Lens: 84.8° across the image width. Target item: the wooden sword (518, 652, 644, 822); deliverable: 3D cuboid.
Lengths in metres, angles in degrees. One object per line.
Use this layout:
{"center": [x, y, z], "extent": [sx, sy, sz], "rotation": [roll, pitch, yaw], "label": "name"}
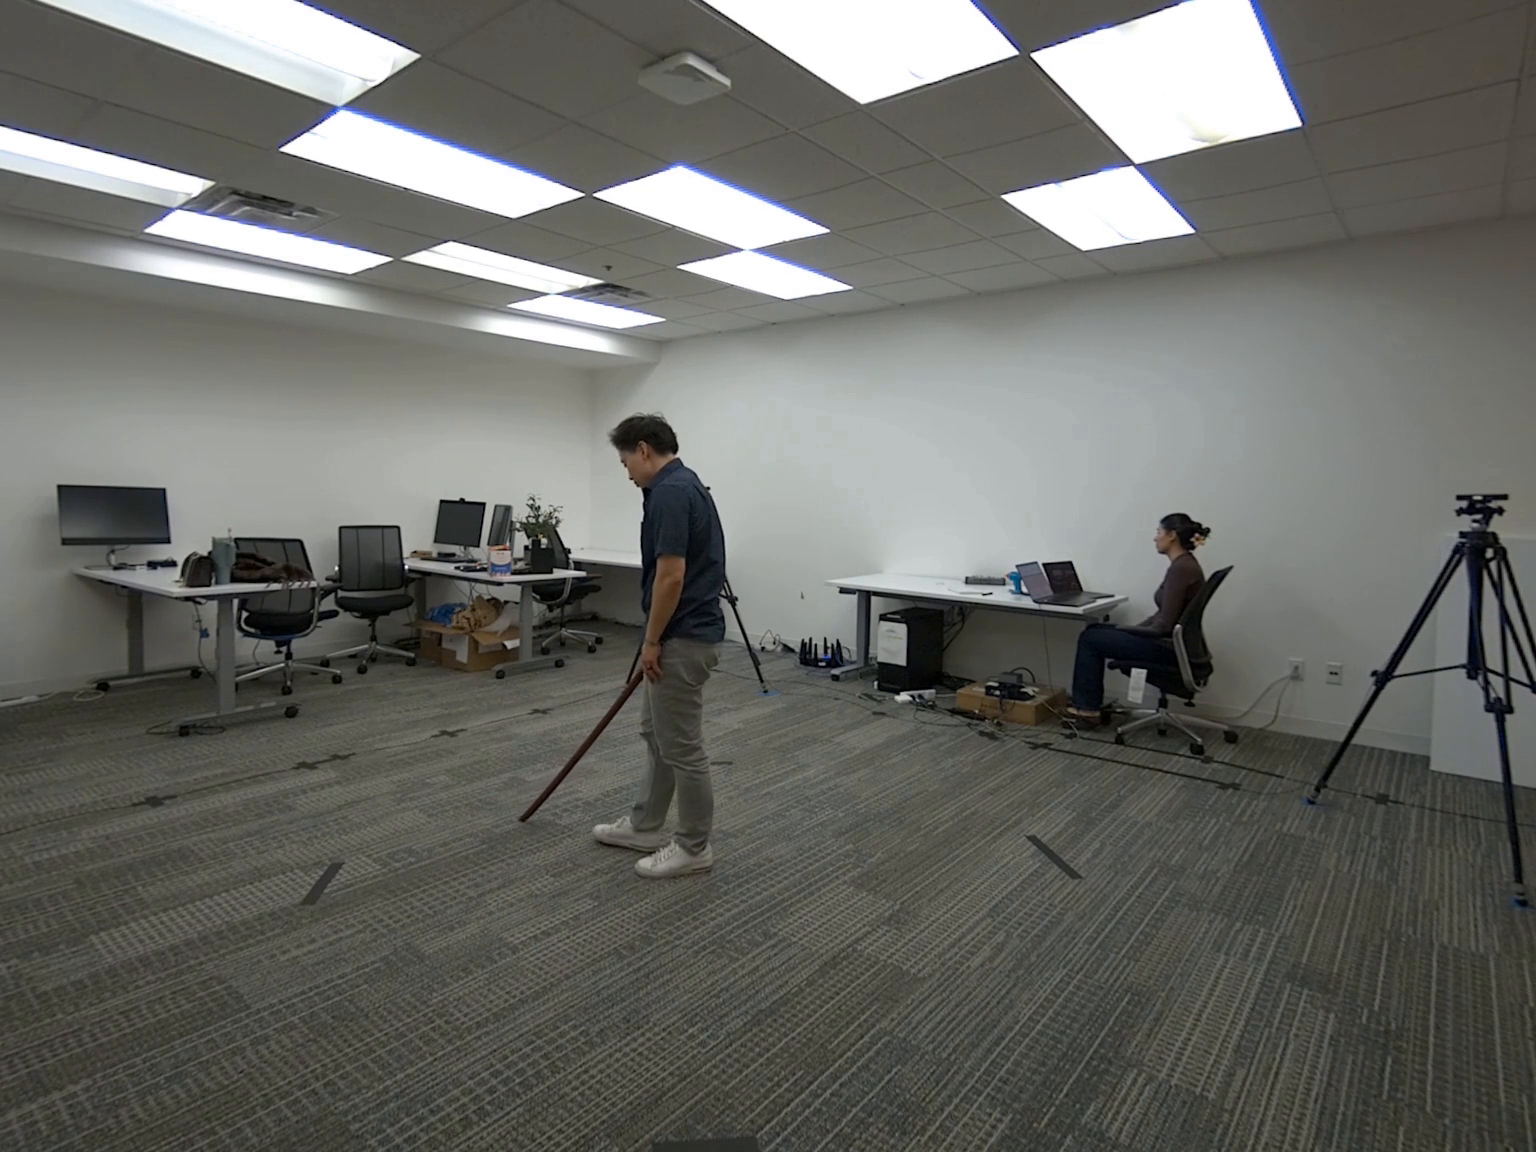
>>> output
{"center": [-0.713, 0.624, 3.470], "extent": [0.024, 1.024, 0.050], "rotation": [40, 5, 9], "label": "wooden sword"}
